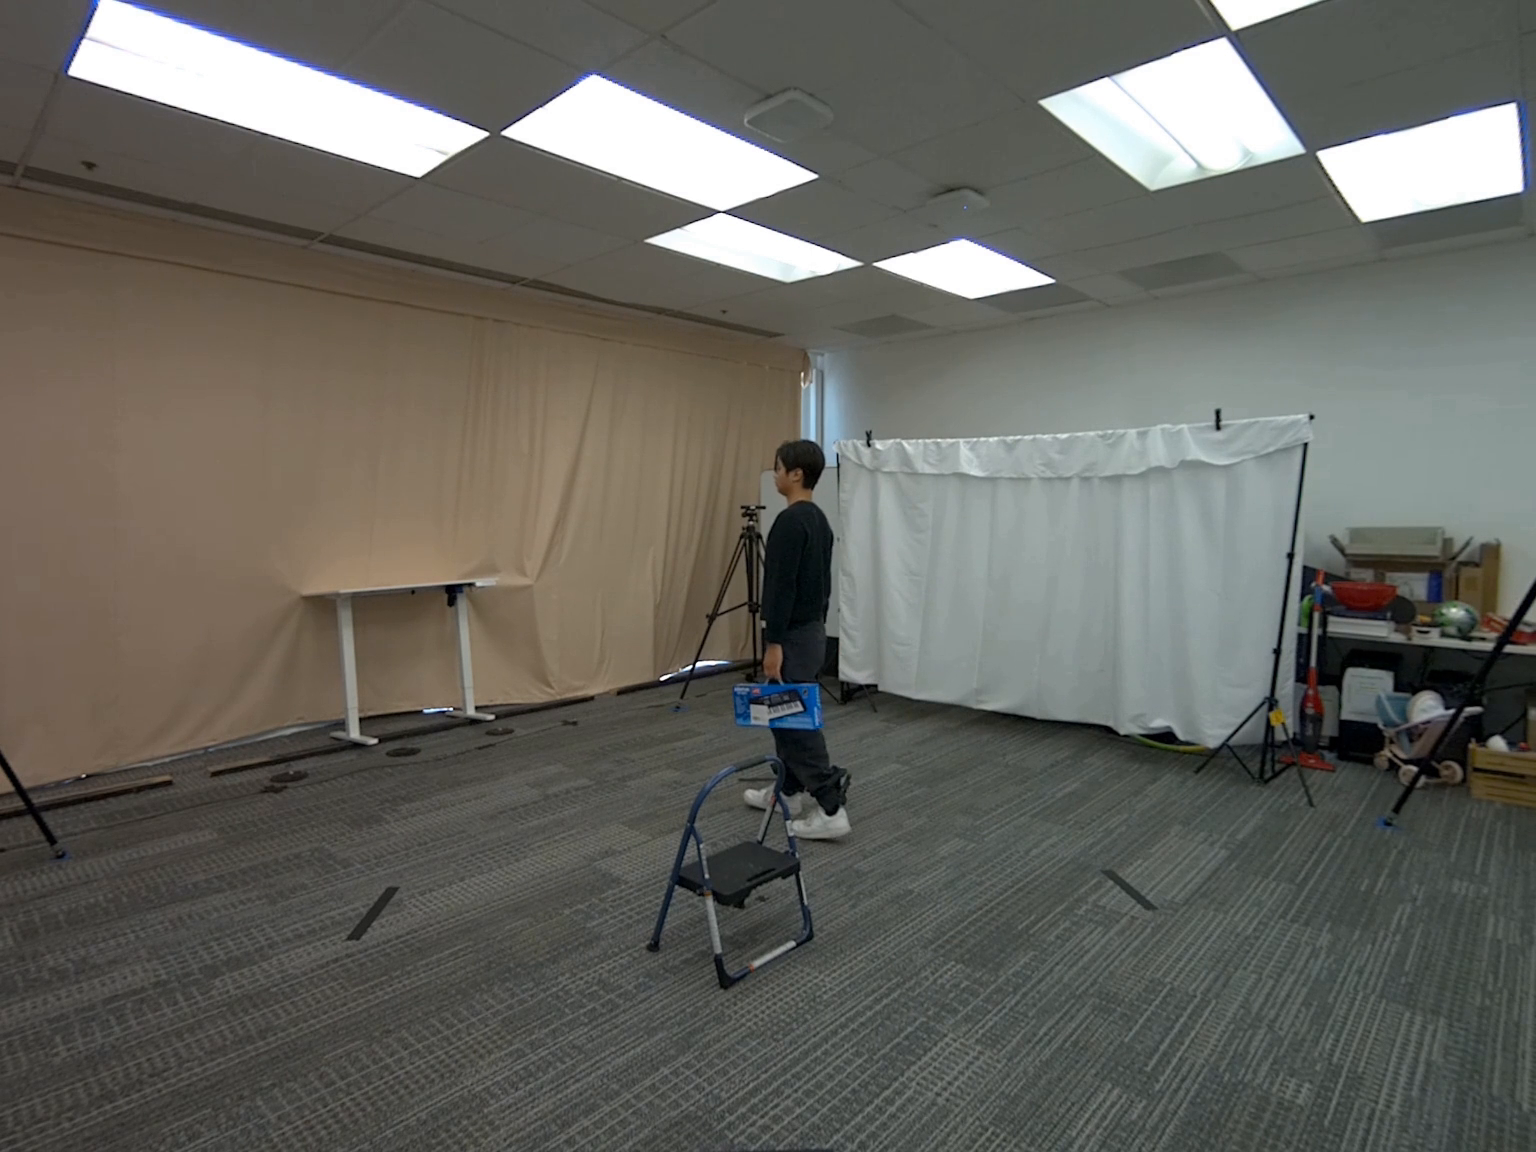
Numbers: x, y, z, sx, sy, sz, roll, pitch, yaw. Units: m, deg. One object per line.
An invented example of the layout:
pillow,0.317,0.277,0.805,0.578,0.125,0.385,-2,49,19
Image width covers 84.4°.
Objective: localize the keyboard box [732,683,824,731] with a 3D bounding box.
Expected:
keyboard box,0.030,0.535,3.473,0.450,0.176,0.057,-7,-4,45
